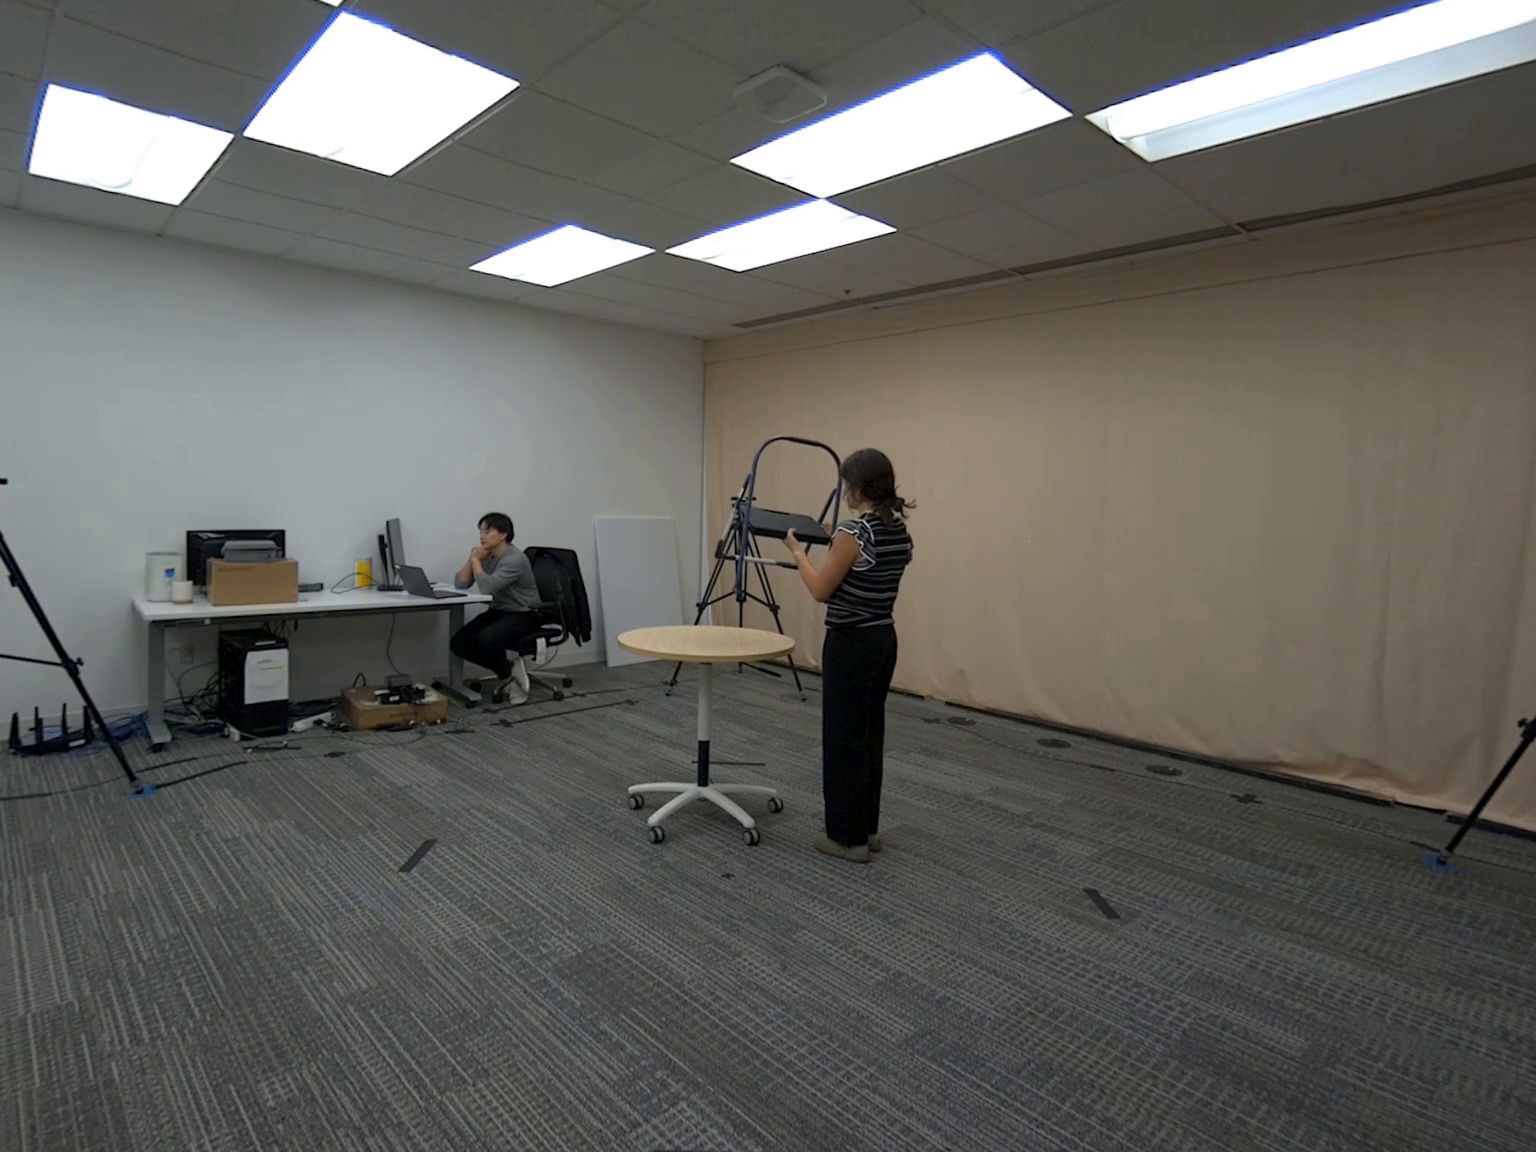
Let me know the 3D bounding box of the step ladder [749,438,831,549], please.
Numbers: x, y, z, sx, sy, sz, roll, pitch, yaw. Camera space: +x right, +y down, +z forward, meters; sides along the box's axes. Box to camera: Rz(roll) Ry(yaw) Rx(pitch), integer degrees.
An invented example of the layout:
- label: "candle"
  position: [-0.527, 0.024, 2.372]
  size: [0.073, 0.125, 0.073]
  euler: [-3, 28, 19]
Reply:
- label: "step ladder"
  position: [0.078, -0.264, 3.472]
  size: [0.422, 0.601, 0.359]
  euler: [8, 19, -24]
